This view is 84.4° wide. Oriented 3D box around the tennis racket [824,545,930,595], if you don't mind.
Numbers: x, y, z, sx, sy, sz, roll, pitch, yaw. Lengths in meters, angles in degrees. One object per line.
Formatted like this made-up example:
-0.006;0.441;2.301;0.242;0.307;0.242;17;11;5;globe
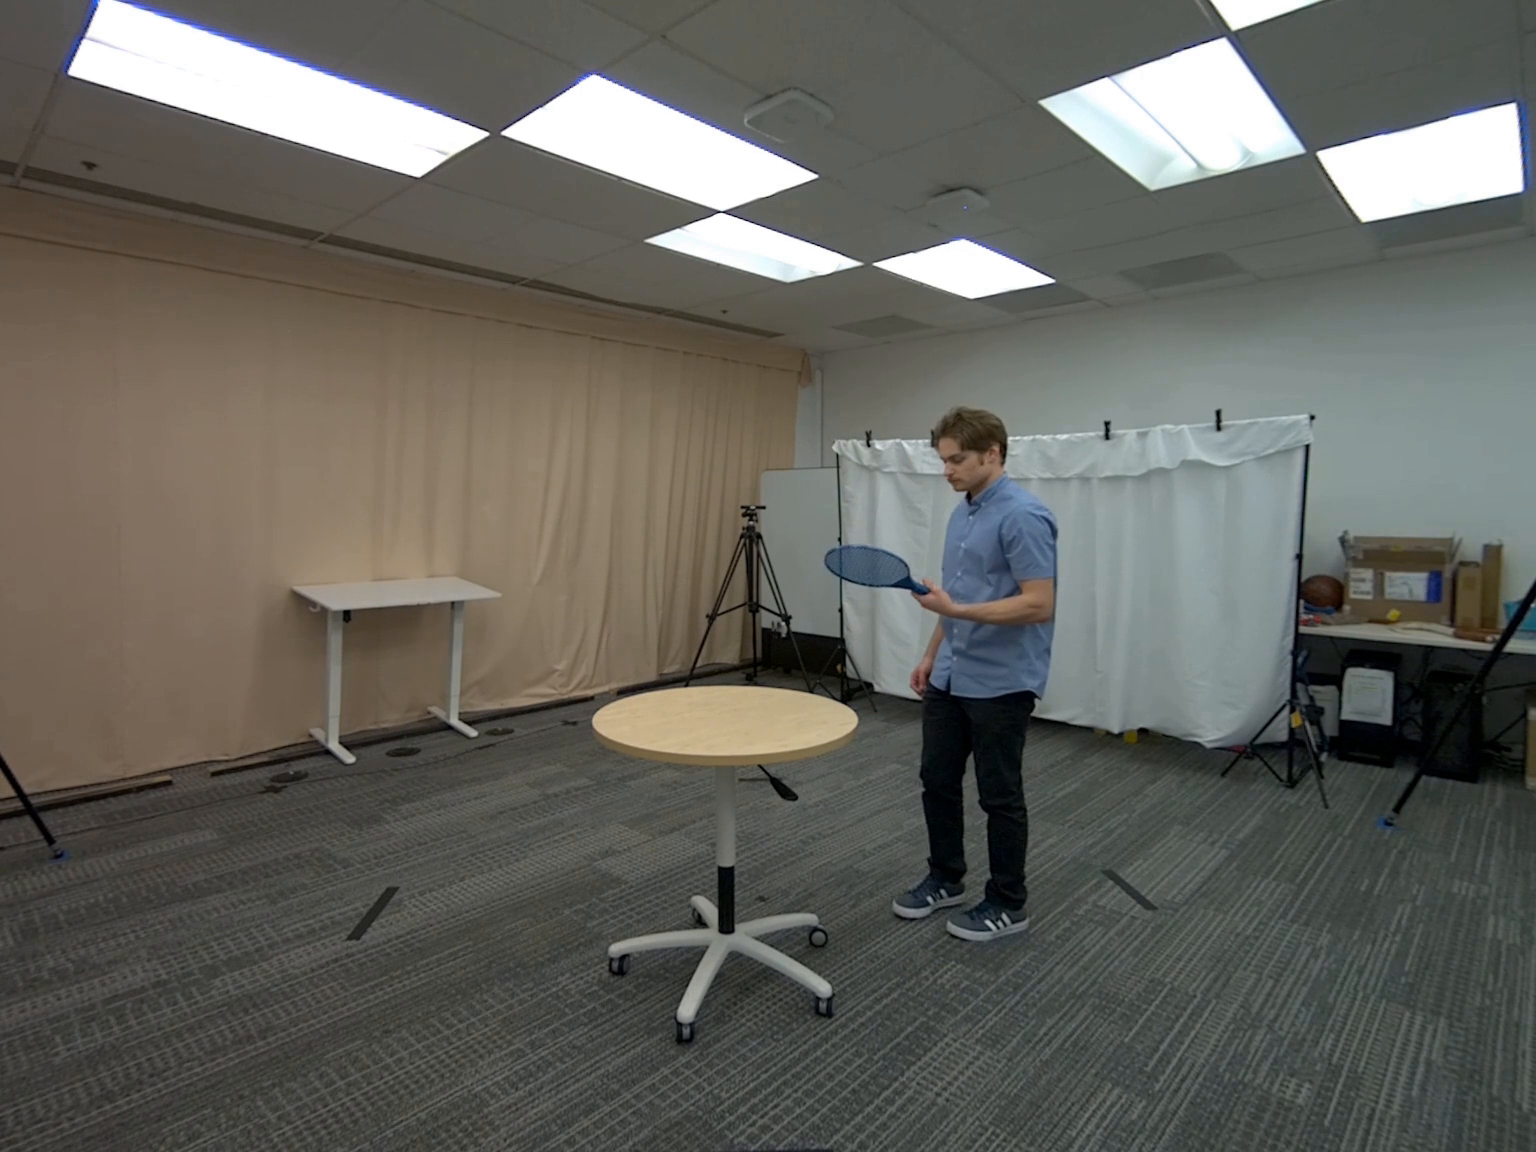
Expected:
0.373;0.002;2.484;0.423;0.032;0.216;22;-36;-20;tennis racket
